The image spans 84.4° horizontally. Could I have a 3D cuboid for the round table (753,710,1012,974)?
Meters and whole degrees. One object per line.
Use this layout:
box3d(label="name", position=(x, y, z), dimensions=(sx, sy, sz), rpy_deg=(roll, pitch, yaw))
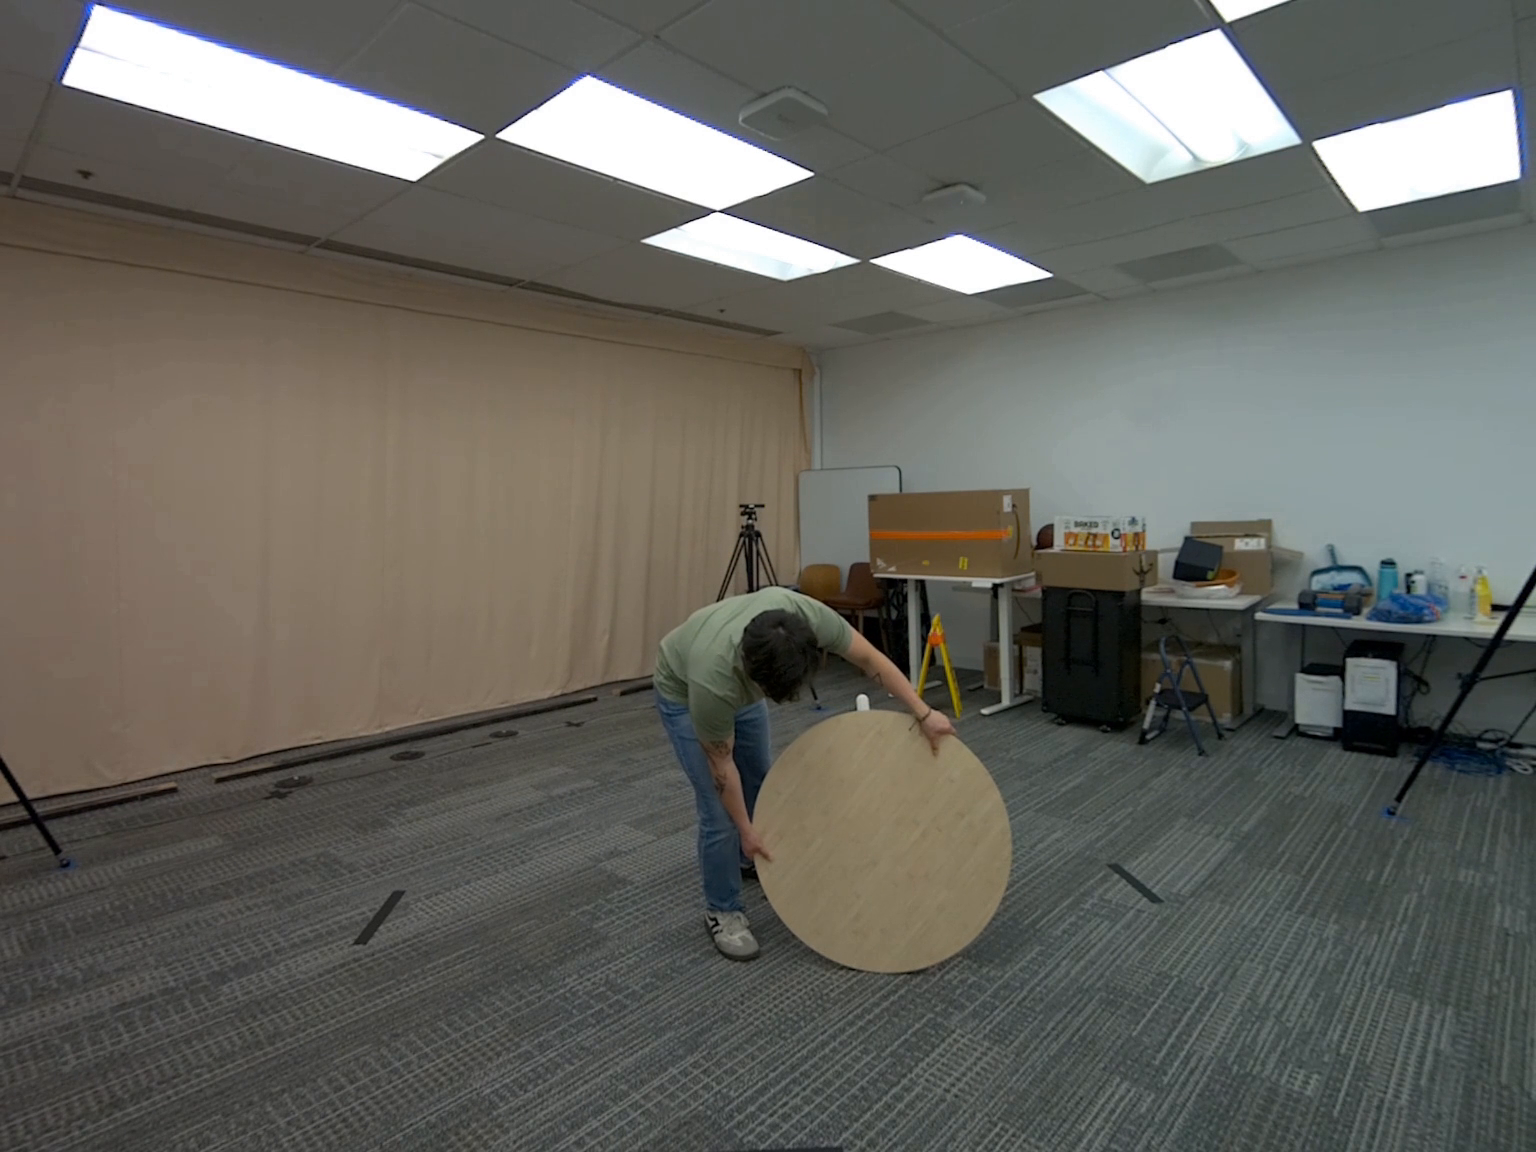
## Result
box3d(label="round table", position=(0.367, 0.805, 2.904), dimensions=(0.771, 0.765, 0.786), rpy_deg=(0, -3, 7))
